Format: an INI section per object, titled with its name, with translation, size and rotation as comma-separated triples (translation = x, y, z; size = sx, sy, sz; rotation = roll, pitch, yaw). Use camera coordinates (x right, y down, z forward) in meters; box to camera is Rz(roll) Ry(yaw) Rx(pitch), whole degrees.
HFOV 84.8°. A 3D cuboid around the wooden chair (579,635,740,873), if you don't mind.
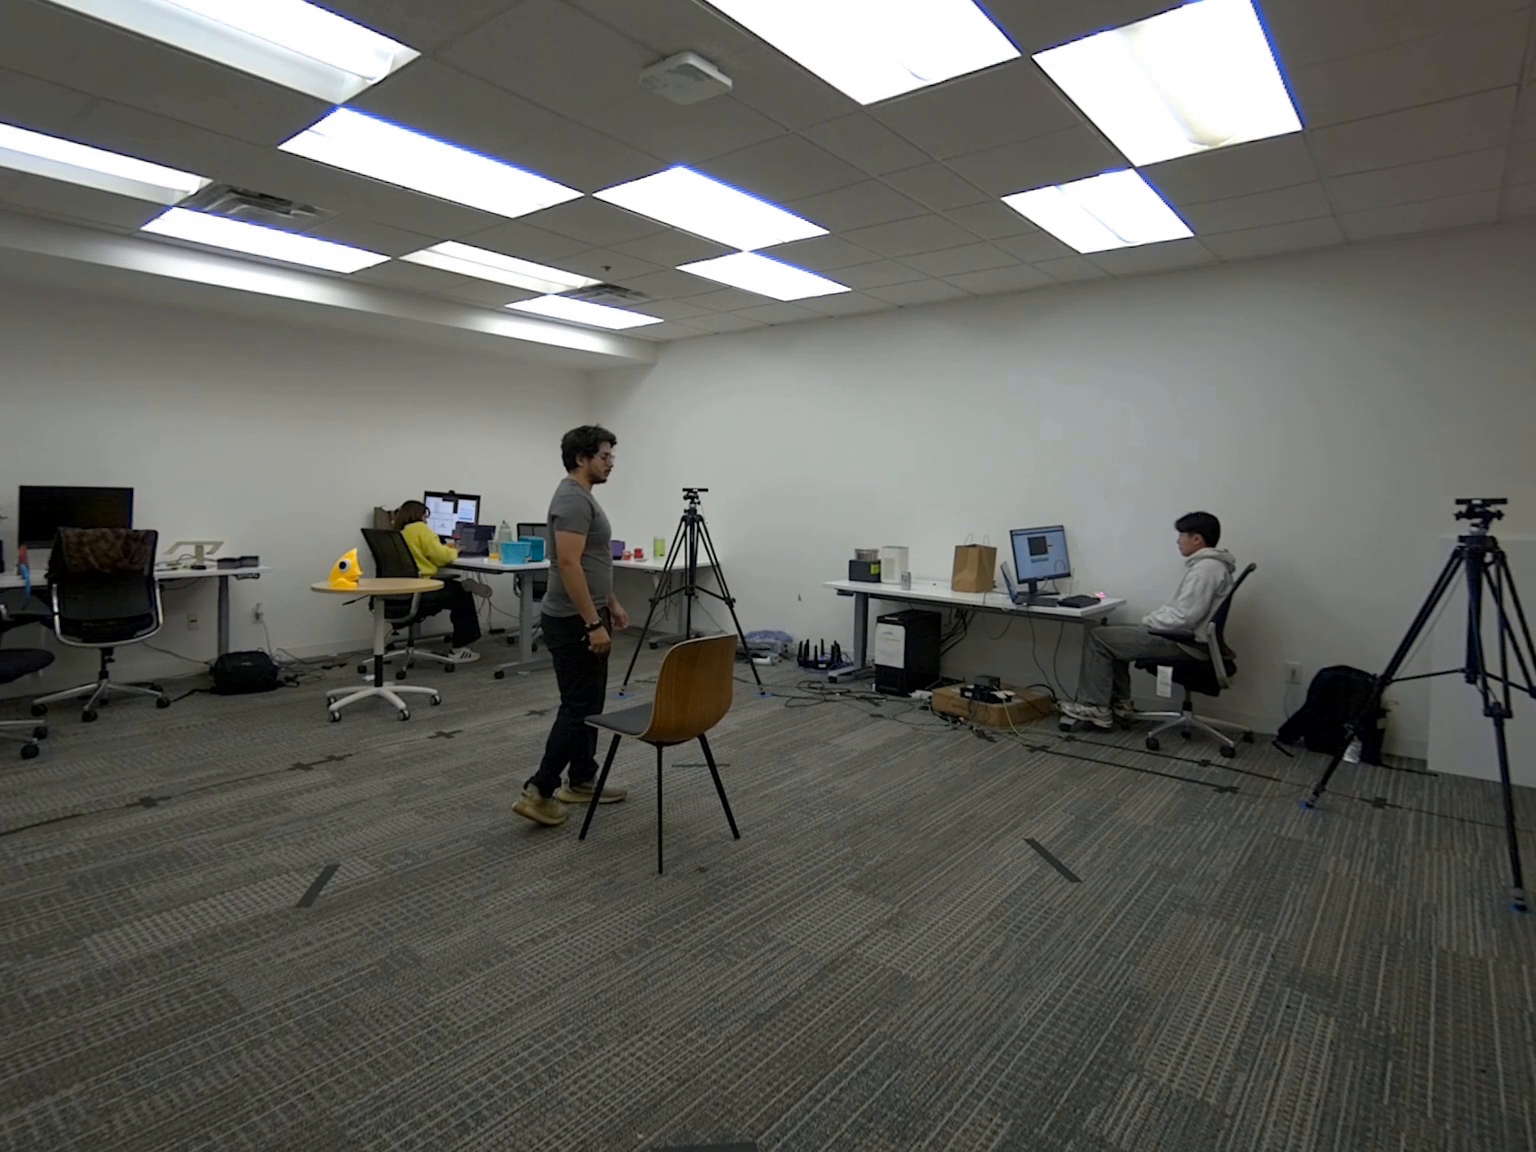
[wooden chair]
translation = -0.435, 0.618, 3.347
size = 0.542, 0.873, 0.464
rotation = 9, 7, 39
